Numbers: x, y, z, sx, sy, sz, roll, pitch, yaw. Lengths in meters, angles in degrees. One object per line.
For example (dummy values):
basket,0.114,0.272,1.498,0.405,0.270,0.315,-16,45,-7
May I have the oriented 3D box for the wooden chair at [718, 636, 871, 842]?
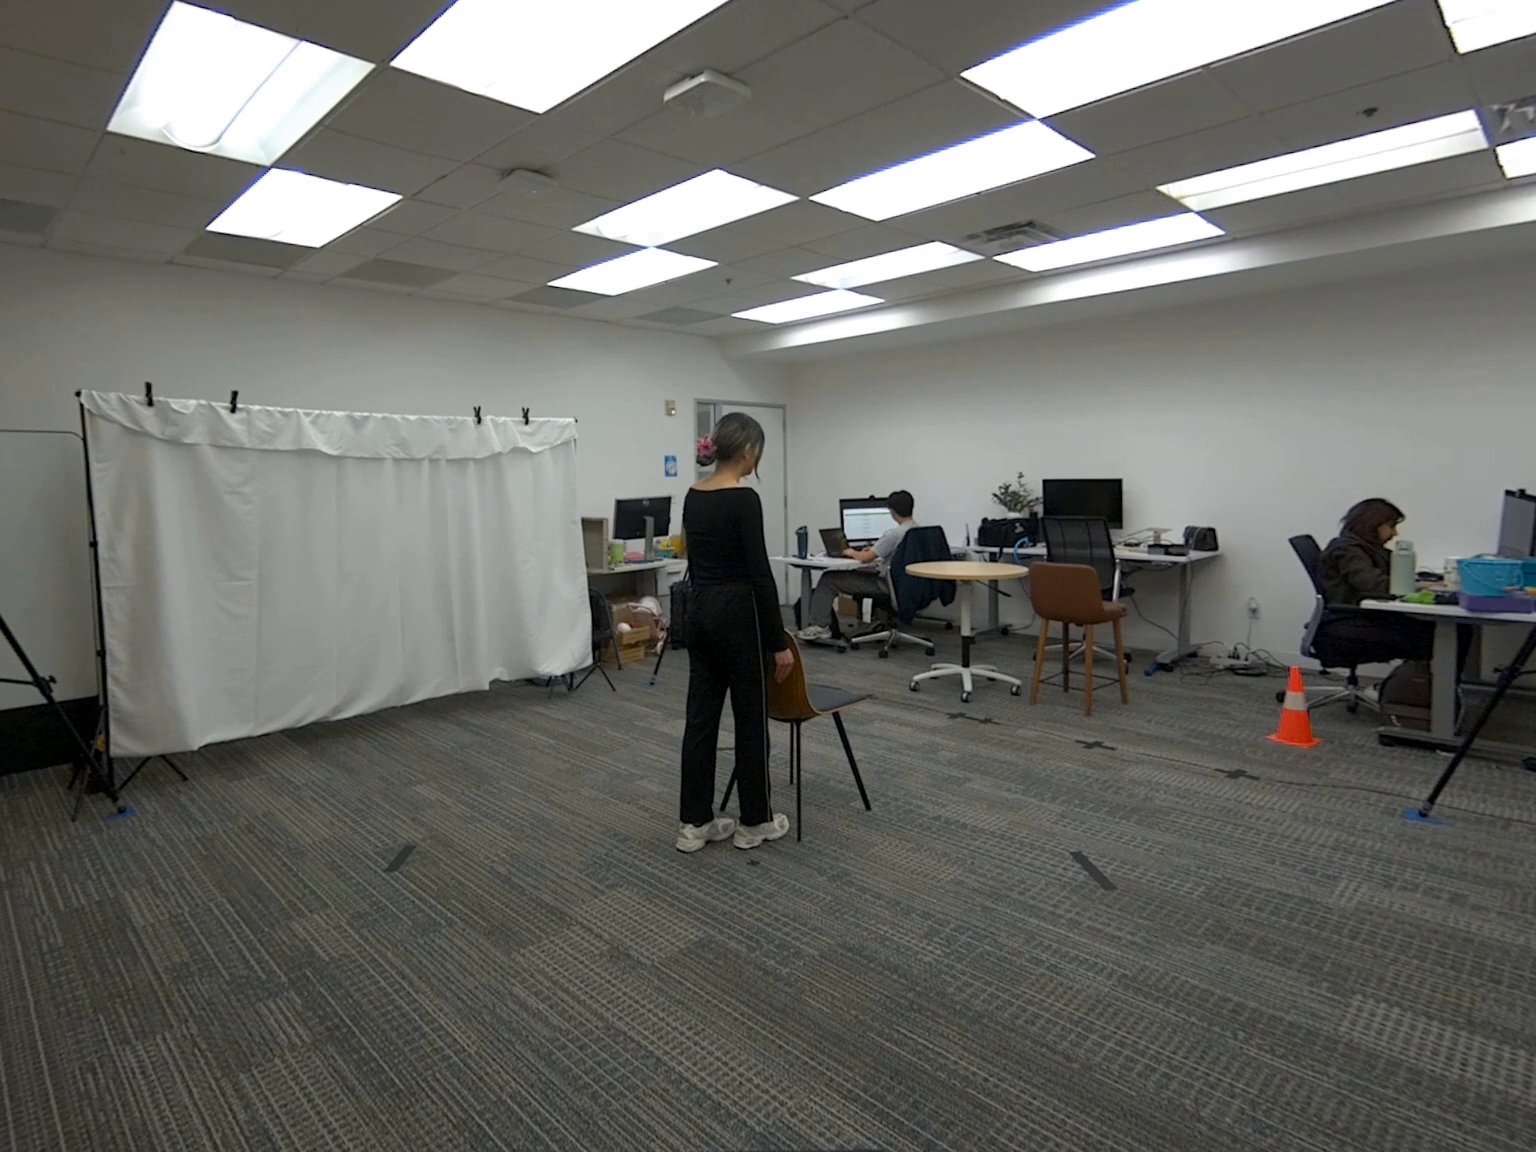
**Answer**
wooden chair,0.113,0.559,3.566,0.511,0.871,0.493,-12,10,-43
